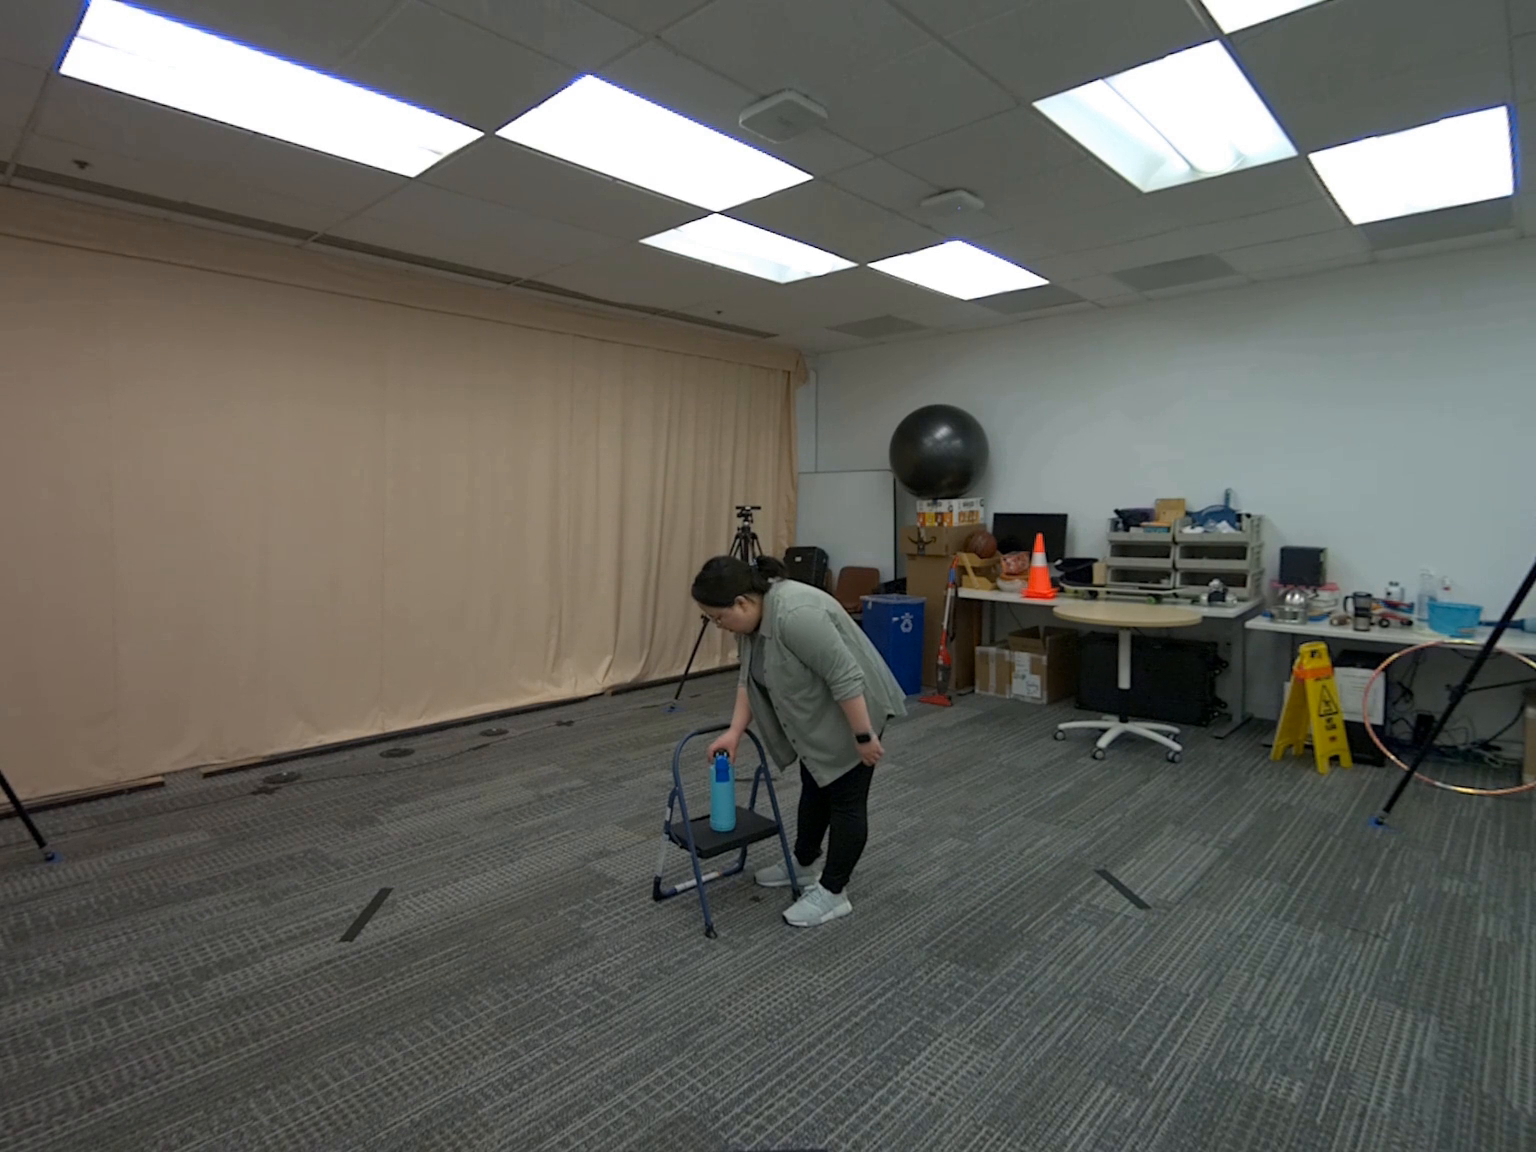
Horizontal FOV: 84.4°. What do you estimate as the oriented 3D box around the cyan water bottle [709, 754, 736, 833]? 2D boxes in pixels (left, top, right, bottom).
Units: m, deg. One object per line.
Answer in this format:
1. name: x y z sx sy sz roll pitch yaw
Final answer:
1. cyan water bottle: -0.152 0.751 2.960 0.092 0.283 0.092 0 3 -2
